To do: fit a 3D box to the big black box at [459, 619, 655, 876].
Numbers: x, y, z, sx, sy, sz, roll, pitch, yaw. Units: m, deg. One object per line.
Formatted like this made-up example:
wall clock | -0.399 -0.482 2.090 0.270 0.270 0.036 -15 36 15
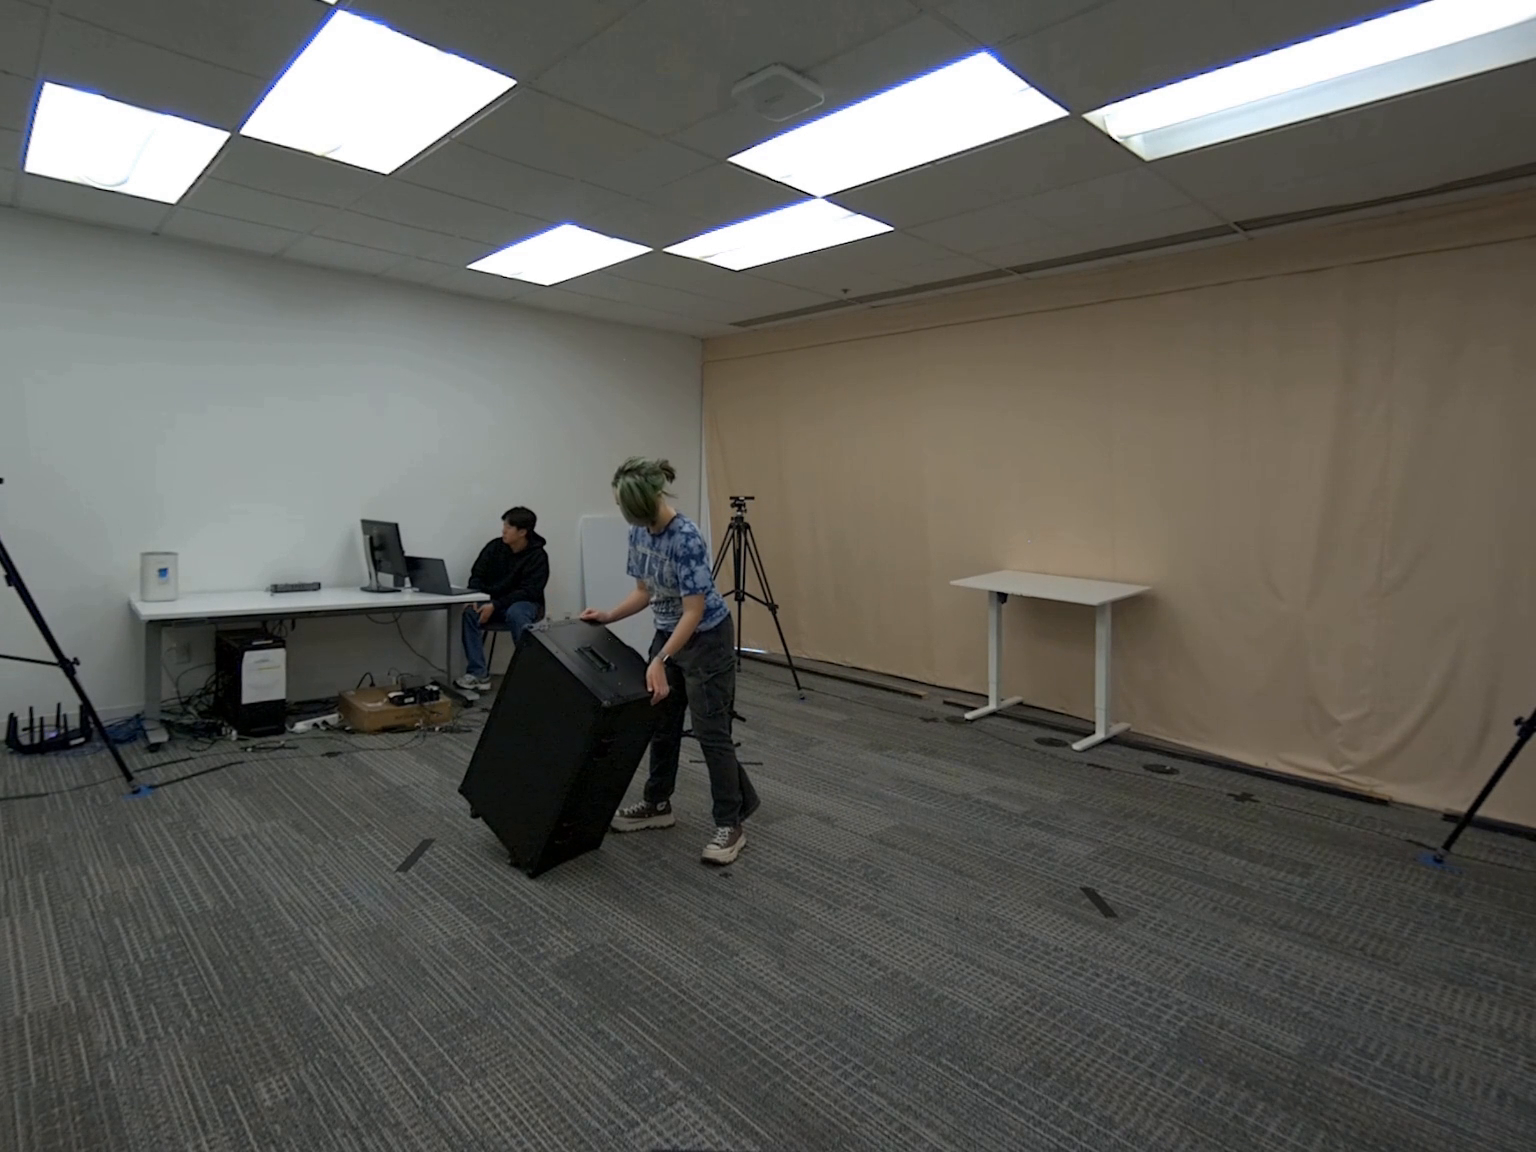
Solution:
big black box | -0.789 0.651 3.182 0.536 0.856 0.388 37 21 28
